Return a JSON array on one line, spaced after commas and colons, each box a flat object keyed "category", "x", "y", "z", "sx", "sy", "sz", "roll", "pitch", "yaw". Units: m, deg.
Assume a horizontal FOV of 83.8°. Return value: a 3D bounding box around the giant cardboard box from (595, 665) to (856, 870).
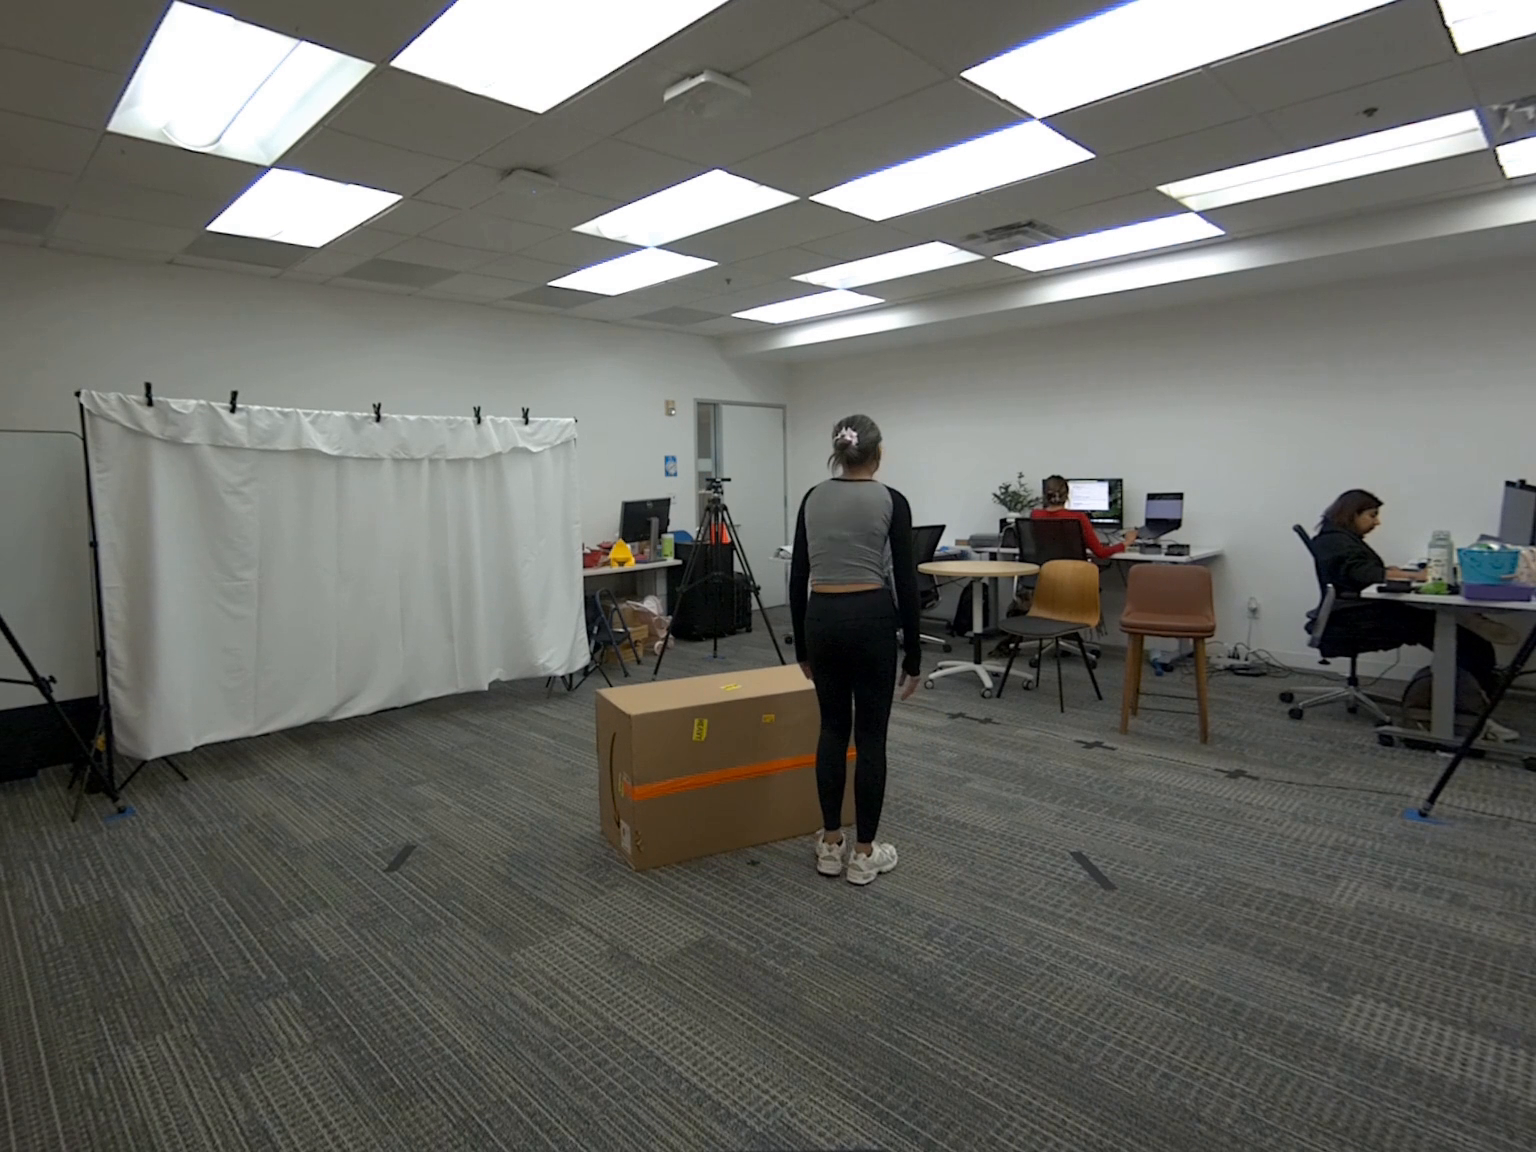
[{"category": "giant cardboard box", "x": -0.134, "y": 0.719, "z": 3.426, "sx": 1.005, "sy": 0.581, "sz": 0.459, "roll": -4, "pitch": 7, "yaw": -26}]
